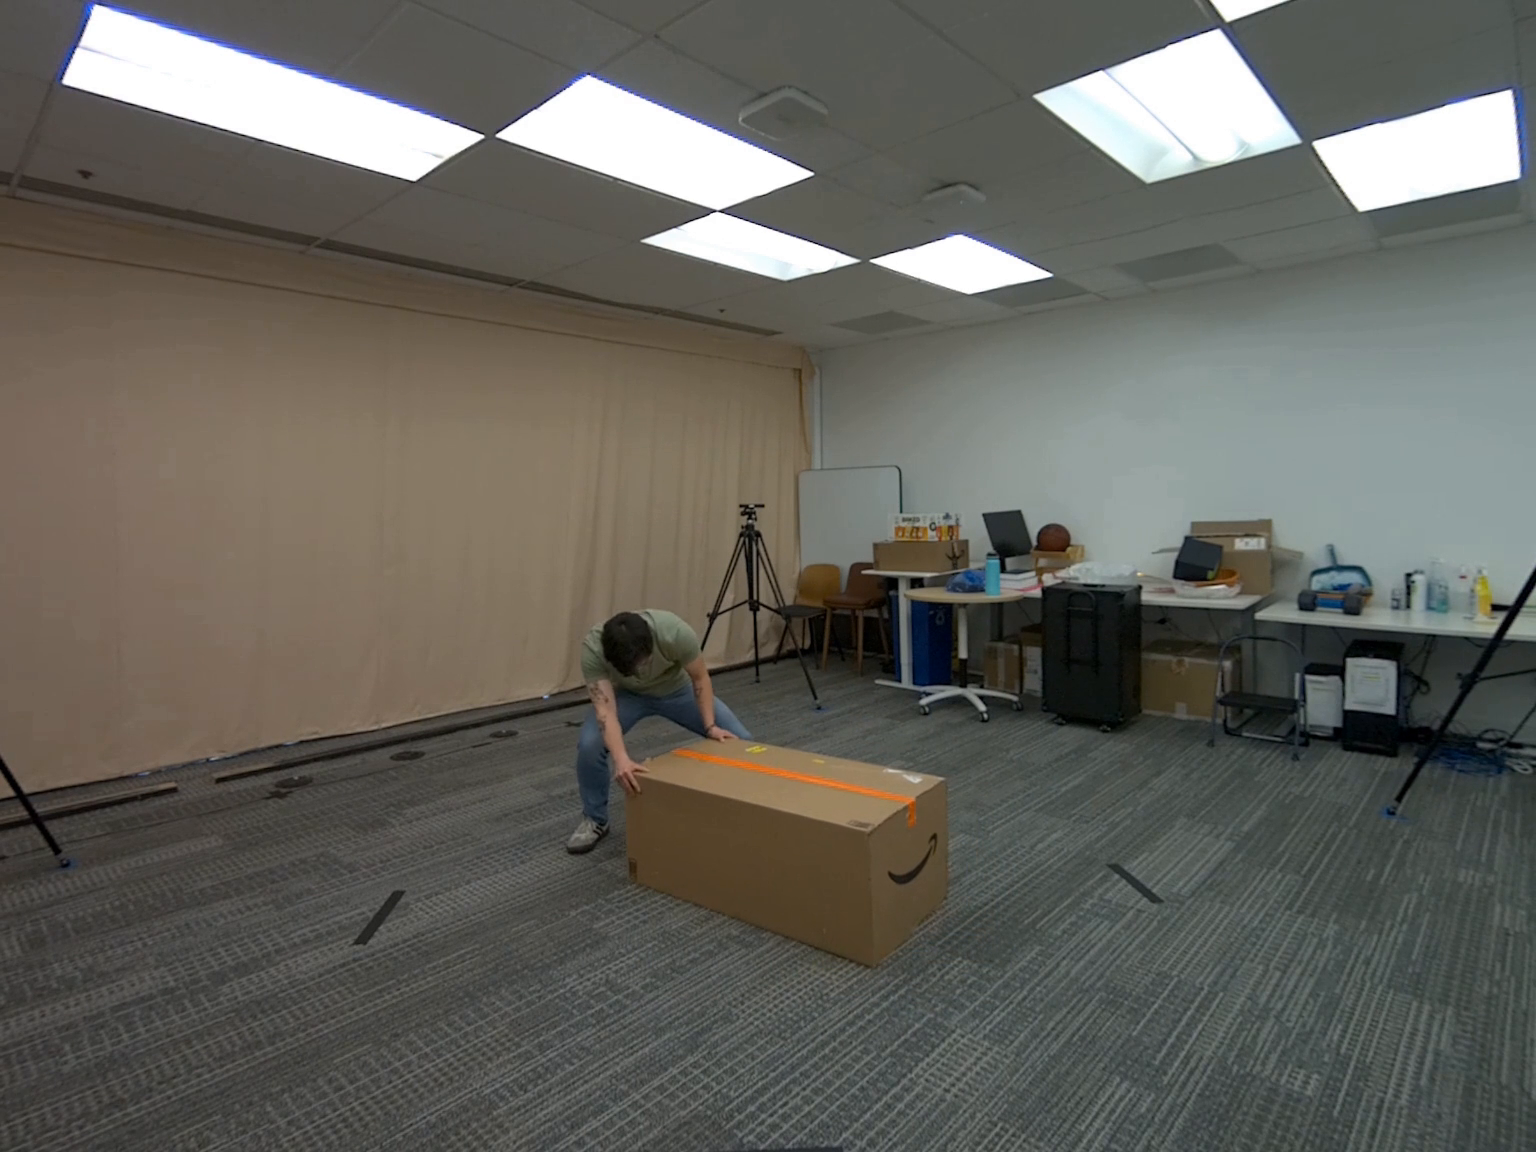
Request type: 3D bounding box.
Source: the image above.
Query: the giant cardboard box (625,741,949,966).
[{"bbox_3d":[0.068,0.921,3.036,1.059,0.425,0.560,2,5,37],"label":"giant cardboard box"}]
